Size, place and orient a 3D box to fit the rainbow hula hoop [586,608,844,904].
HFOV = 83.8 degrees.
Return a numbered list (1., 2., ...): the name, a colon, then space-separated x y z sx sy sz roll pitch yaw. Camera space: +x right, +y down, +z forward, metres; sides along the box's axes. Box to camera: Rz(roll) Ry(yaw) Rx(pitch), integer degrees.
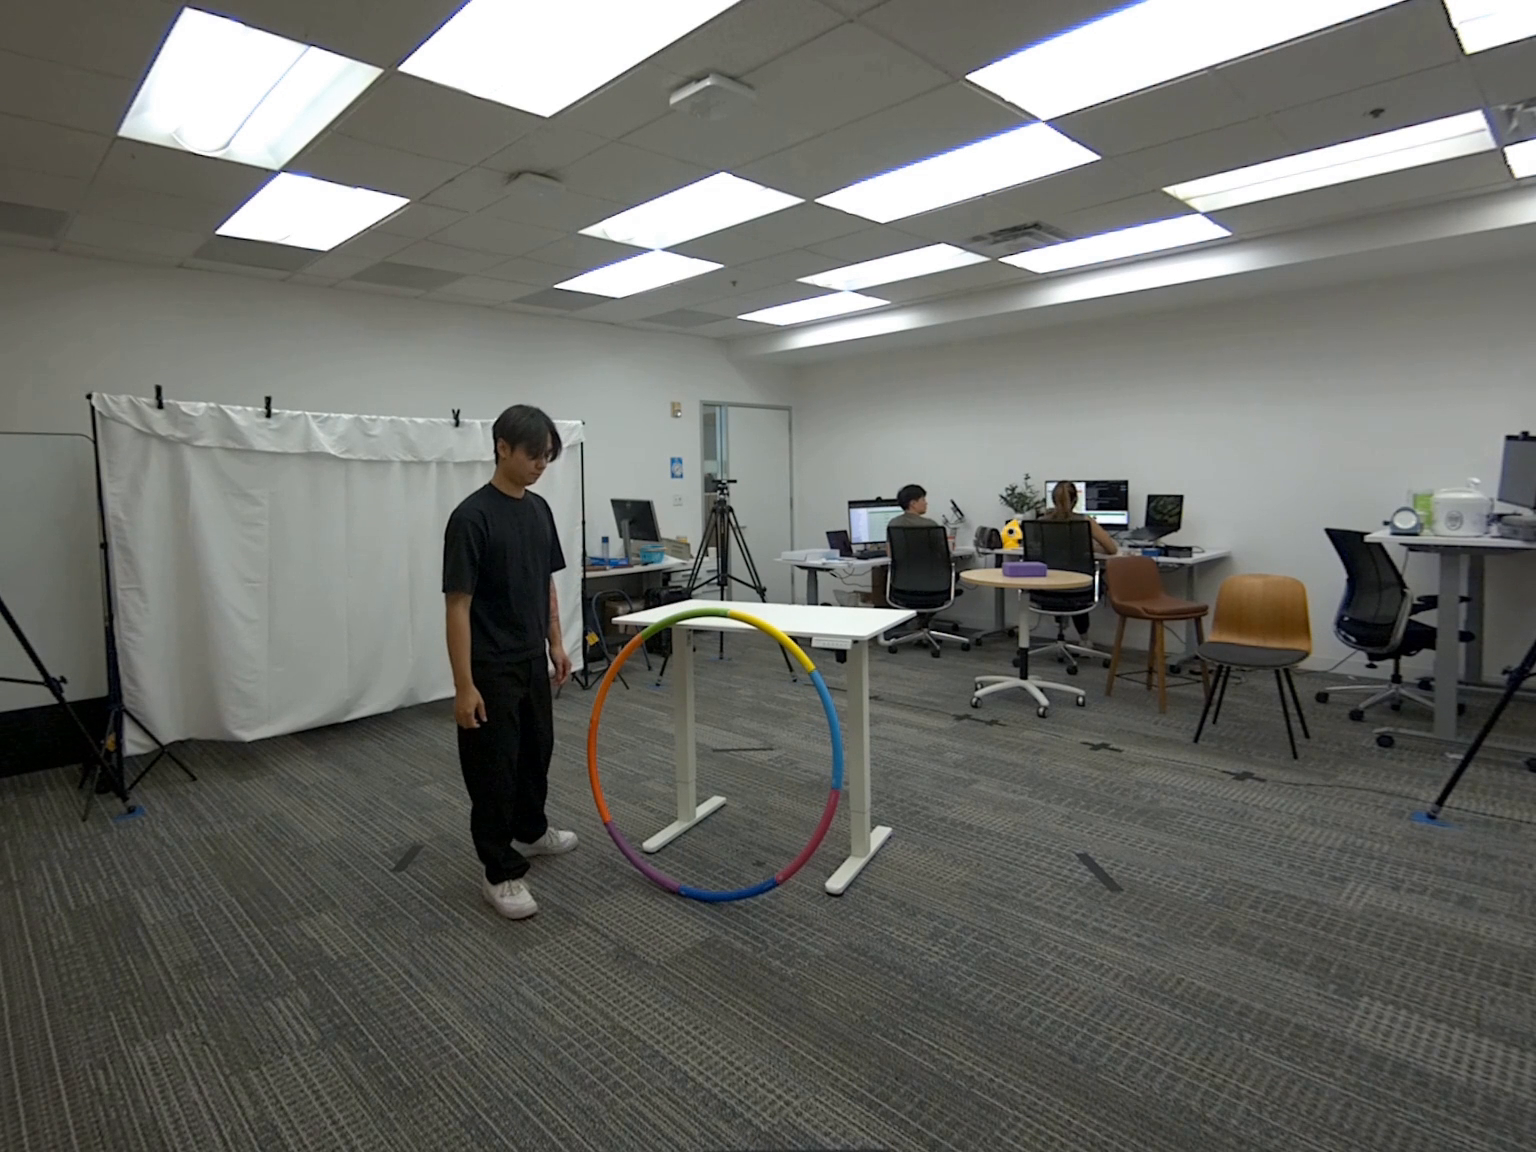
1. rainbow hula hoop: -0.214 0.597 2.922 1.003 0.984 0.034 1 -8 28
